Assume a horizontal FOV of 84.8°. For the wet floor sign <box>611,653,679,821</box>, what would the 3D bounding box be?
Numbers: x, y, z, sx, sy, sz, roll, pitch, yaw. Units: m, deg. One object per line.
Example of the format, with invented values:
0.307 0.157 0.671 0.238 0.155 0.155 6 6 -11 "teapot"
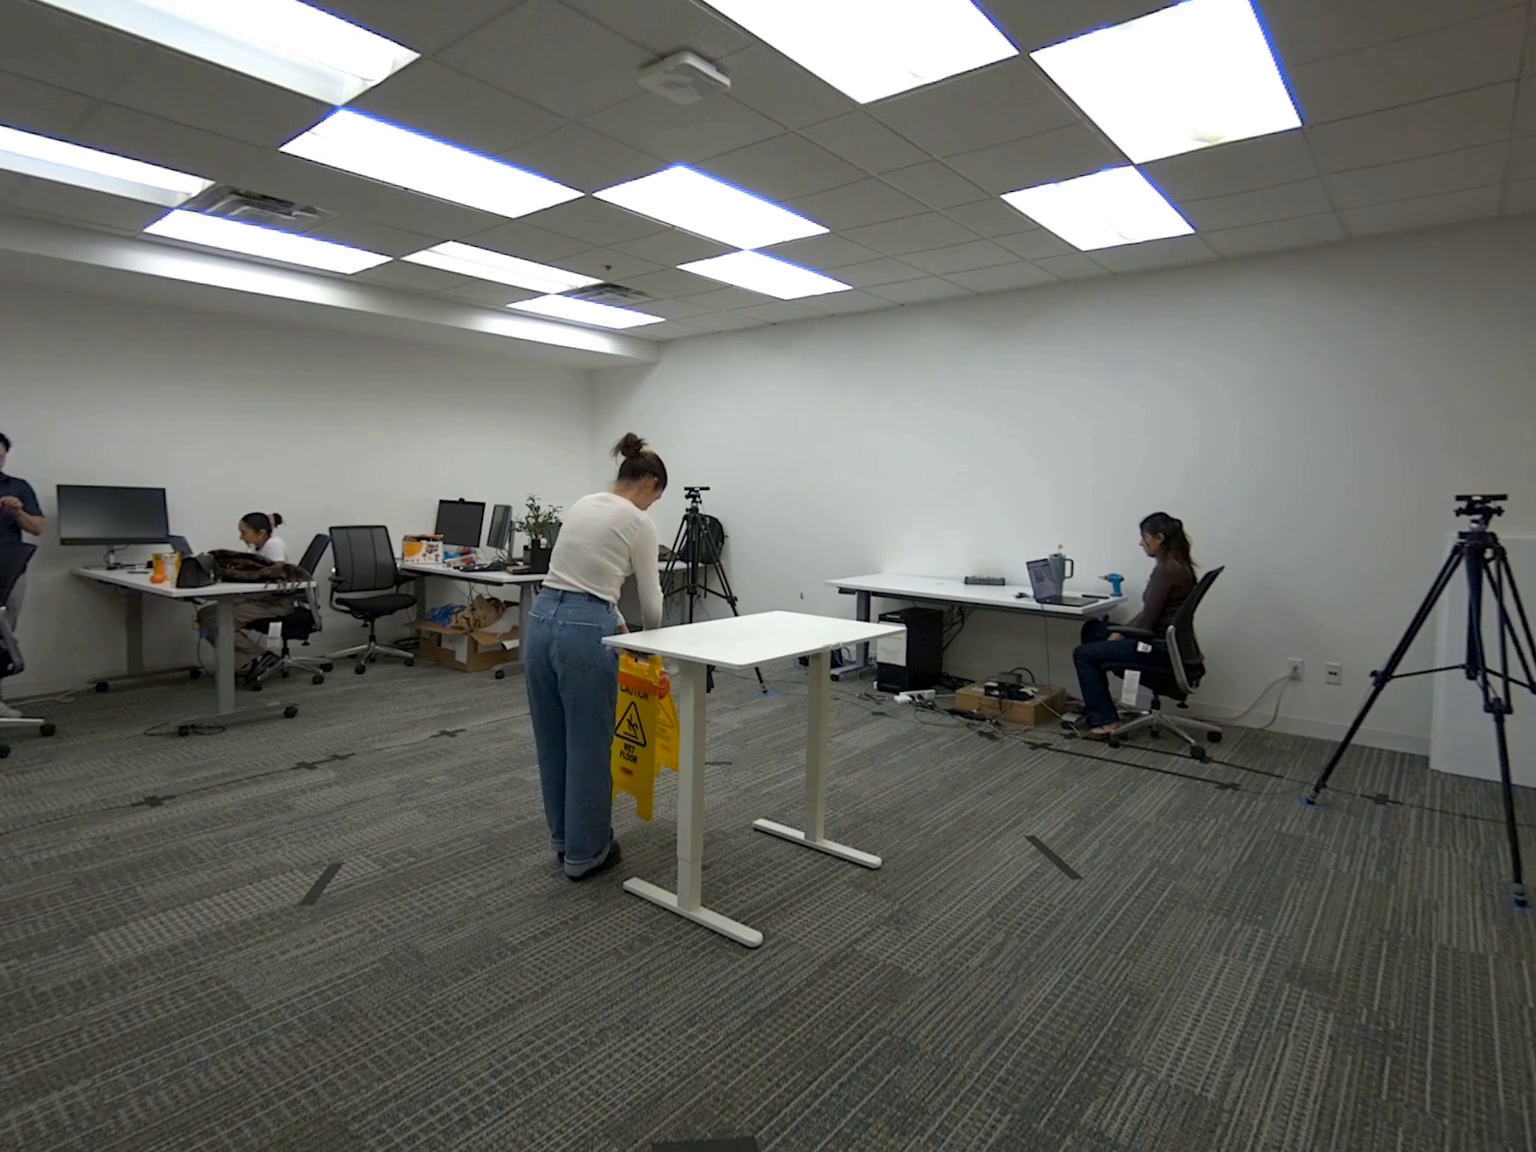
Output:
-0.506 0.578 3.376 0.292 0.637 0.284 9 18 36 "wet floor sign"
